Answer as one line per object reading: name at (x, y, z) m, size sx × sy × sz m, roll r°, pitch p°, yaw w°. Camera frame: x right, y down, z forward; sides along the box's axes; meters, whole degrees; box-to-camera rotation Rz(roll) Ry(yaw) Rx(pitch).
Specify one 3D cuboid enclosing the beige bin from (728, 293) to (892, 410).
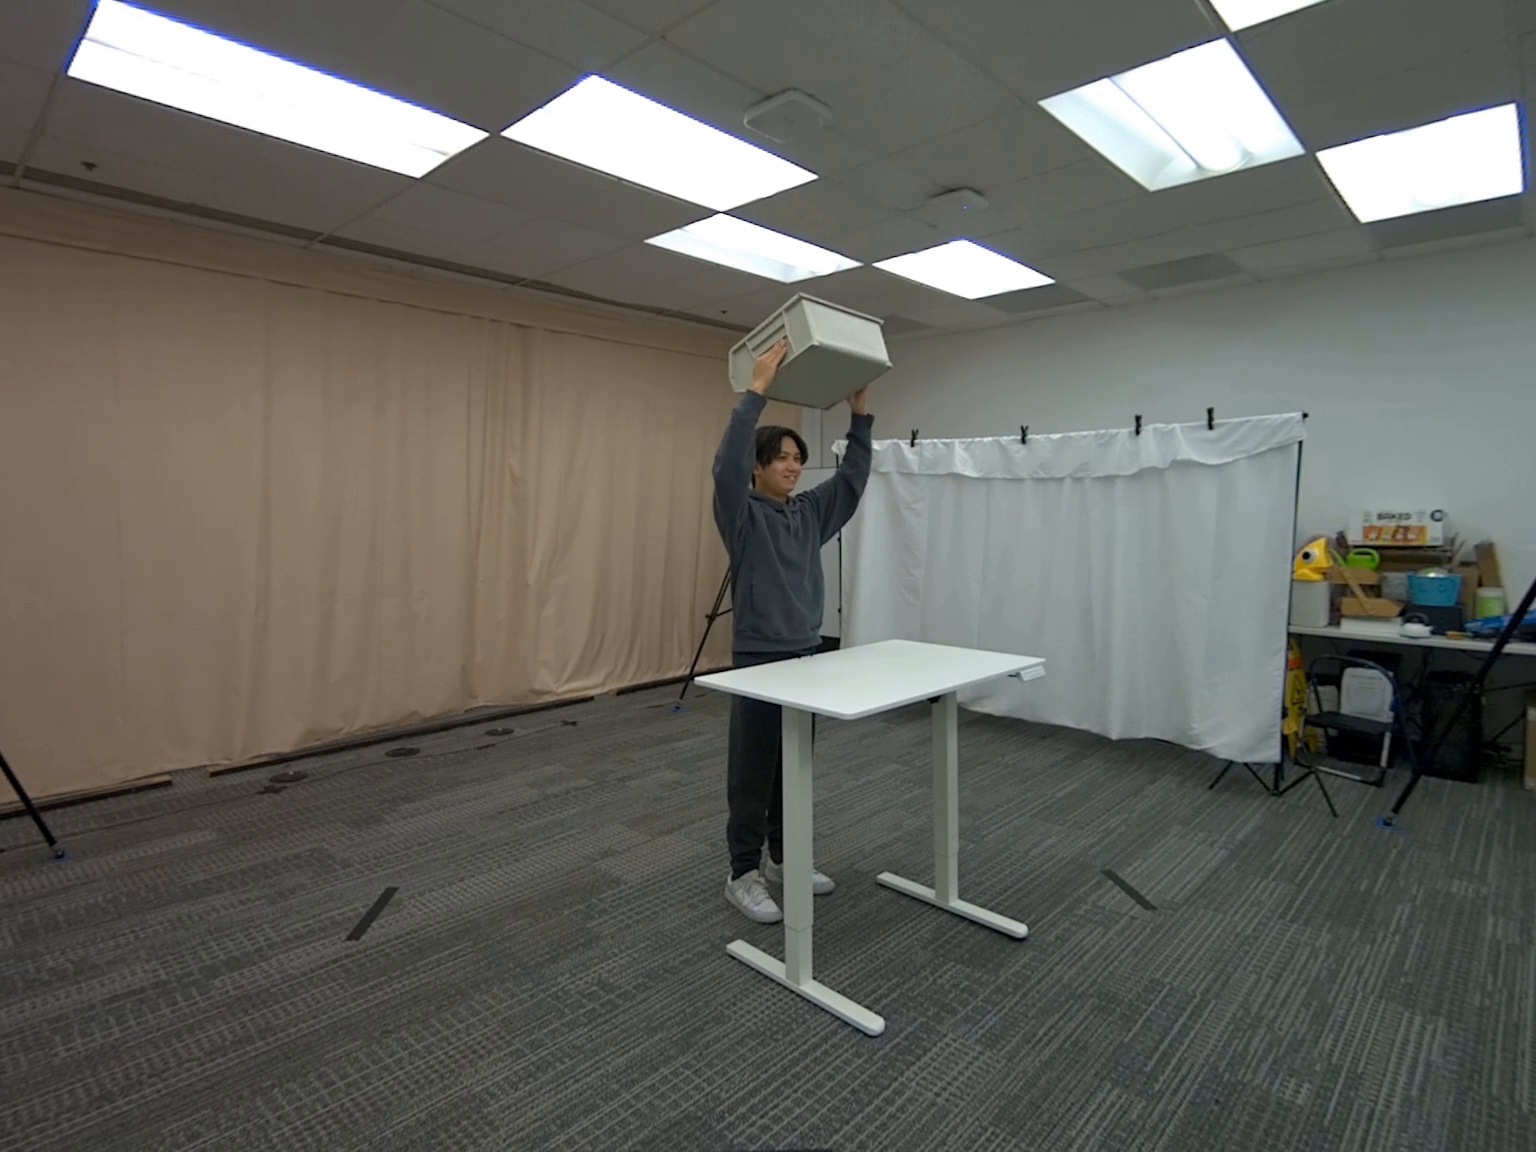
beige bin at (0.143, -0.723, 2.844) m, size 0.408 × 0.191 × 0.385 m, roll 1°, pitch -21°, yaw -44°
